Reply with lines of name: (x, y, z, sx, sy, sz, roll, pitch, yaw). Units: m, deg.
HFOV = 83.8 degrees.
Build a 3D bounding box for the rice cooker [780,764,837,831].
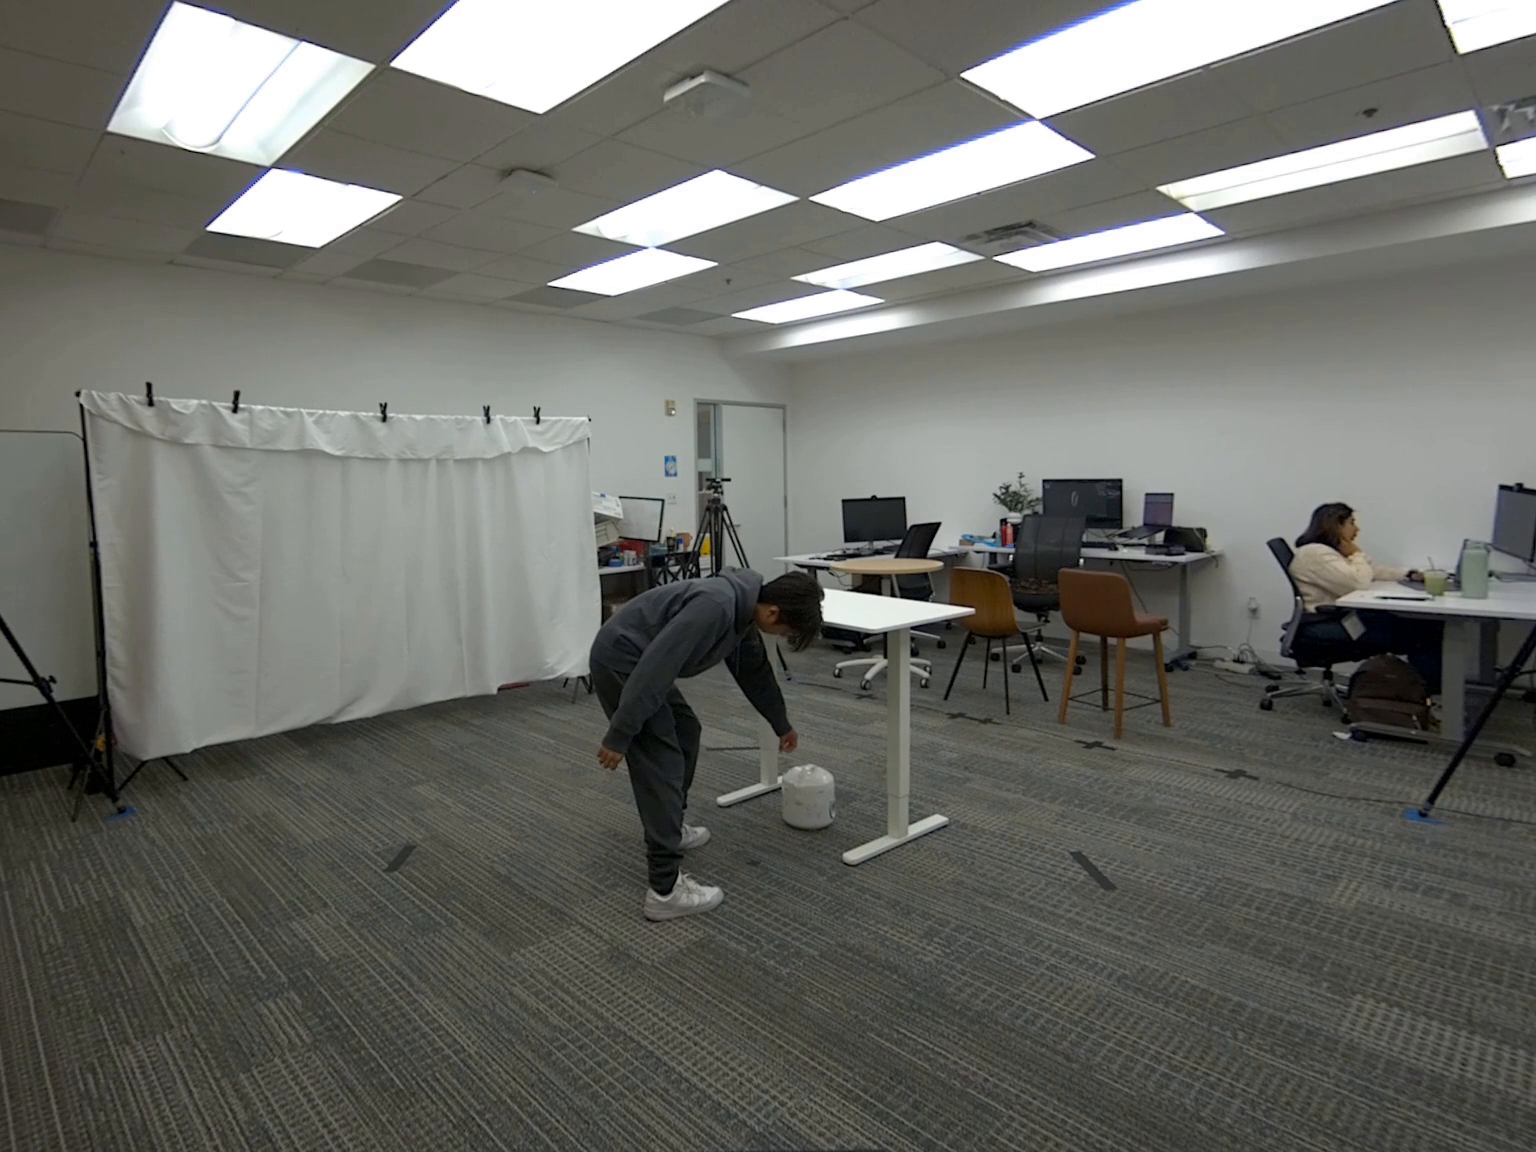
rice cooker: (0.167, 0.882, 3.459, 0.223, 0.232, 0.216, 1, 5, 27)
